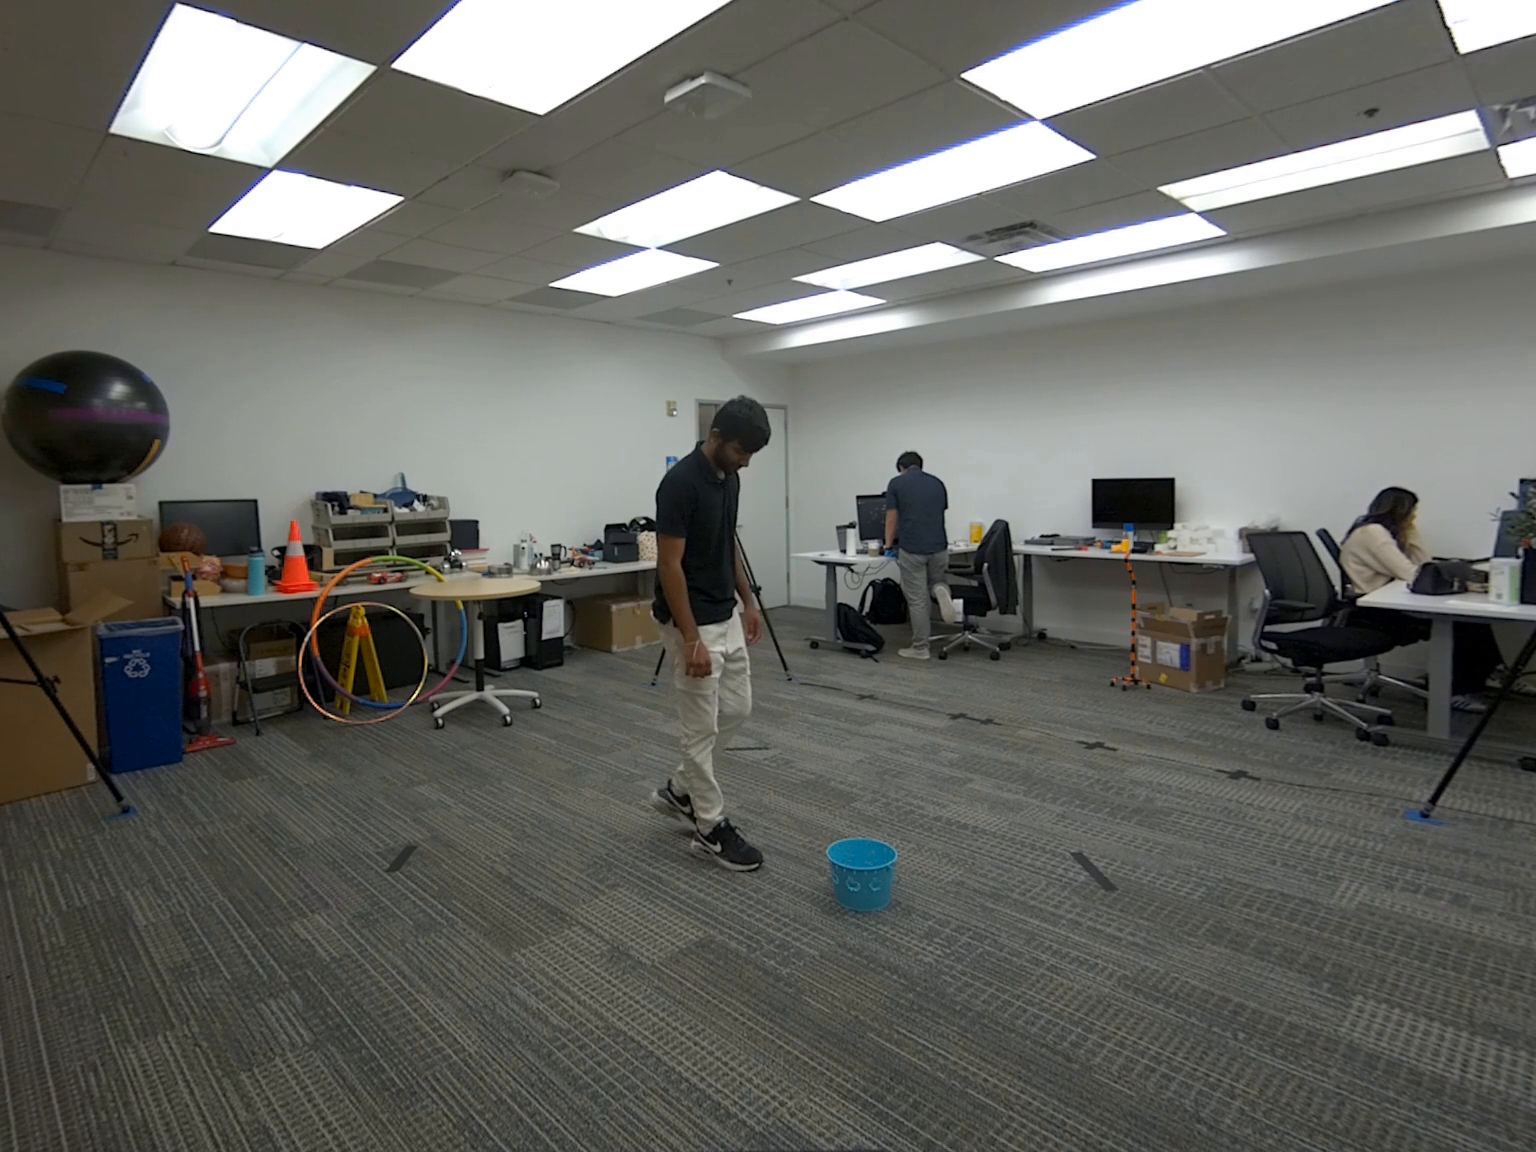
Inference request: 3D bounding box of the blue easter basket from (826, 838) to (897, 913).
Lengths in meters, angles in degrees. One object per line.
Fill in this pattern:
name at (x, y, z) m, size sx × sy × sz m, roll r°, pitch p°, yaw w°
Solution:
blue easter basket at (0.323, 0.988, 2.835) m, size 0.243 × 0.155 × 0.245 m, roll -2°, pitch 6°, yaw -2°
